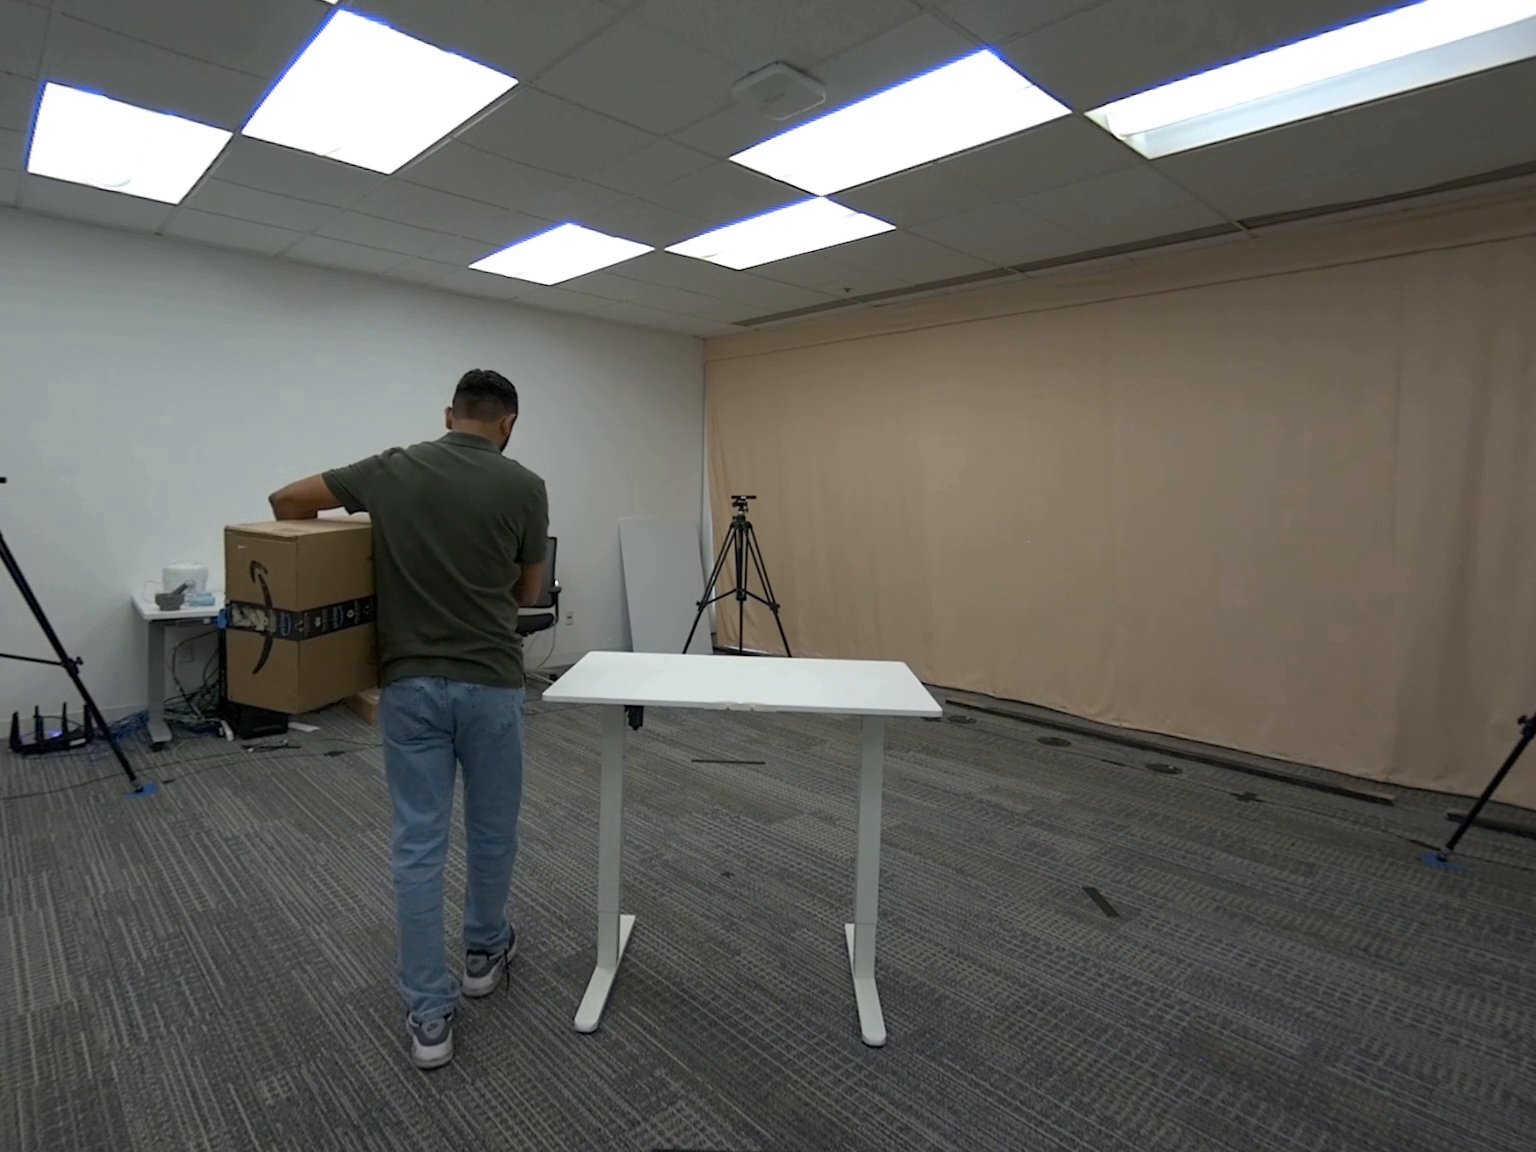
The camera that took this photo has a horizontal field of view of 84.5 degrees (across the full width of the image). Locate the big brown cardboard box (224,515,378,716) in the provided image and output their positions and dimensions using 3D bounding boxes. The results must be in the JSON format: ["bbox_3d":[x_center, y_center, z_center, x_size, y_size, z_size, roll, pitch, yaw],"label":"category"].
[{"bbox_3d":[-1.075,0.064,2.163,0.236,0.416,0.583,6,7,15],"label":"big brown cardboard box"}]
